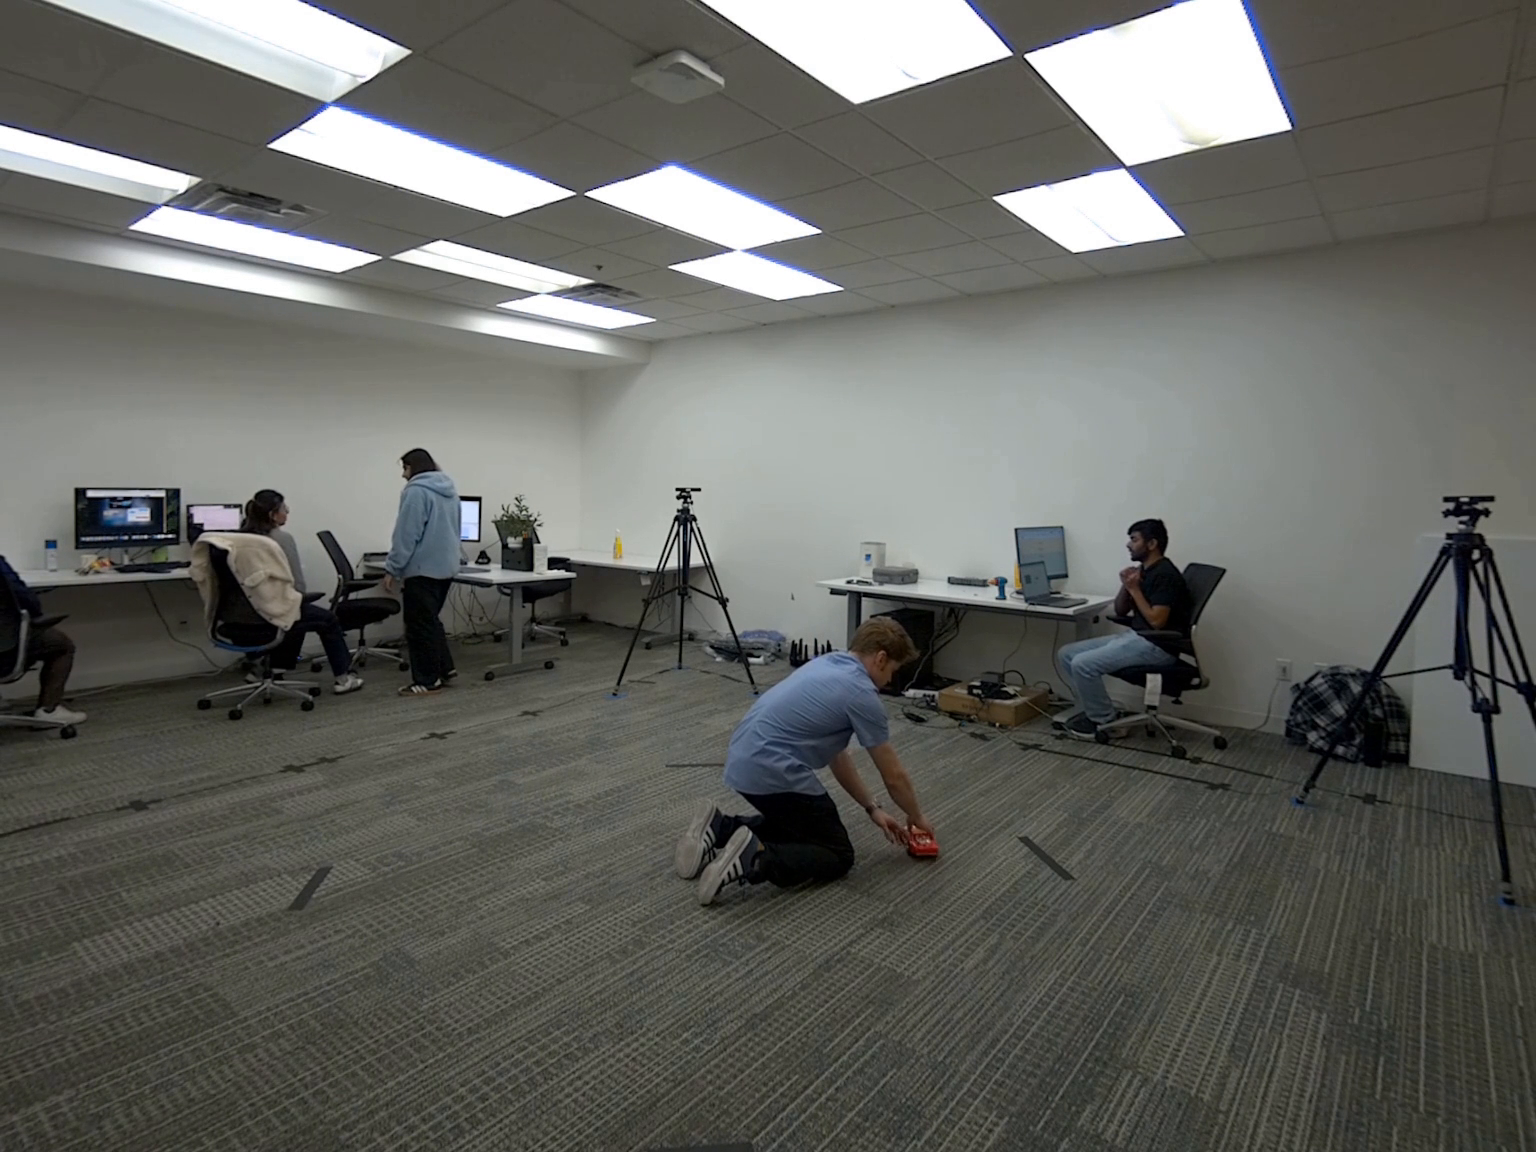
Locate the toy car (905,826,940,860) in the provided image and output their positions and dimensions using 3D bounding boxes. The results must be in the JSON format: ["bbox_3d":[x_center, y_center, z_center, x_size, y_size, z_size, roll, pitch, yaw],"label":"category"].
[{"bbox_3d":[0.584,1.036,3.315,0.129,0.084,0.255,0,-4,-7],"label":"toy car"}]
